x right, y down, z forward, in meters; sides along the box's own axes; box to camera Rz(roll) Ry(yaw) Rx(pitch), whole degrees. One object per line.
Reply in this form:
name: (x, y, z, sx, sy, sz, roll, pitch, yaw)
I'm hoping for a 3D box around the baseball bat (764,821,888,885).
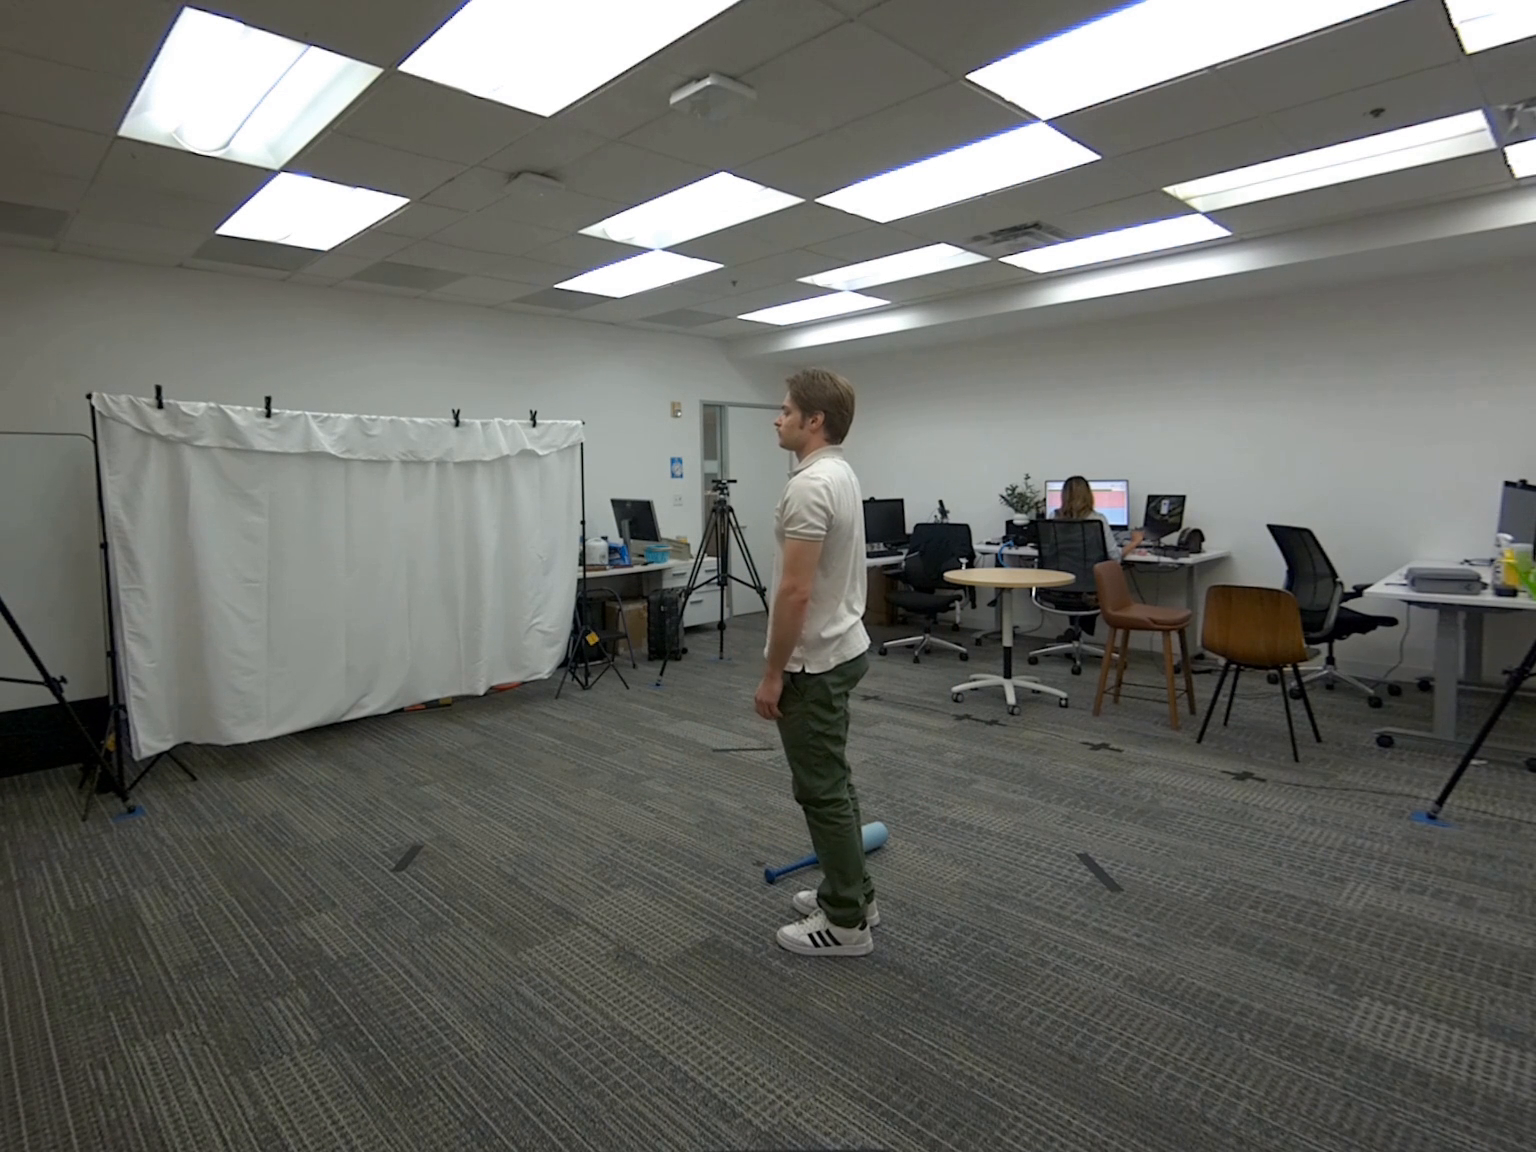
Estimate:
baseball bat: (0.221, 1.009, 3.093, 0.531, 0.088, 0.091, -10, 9, -33)
